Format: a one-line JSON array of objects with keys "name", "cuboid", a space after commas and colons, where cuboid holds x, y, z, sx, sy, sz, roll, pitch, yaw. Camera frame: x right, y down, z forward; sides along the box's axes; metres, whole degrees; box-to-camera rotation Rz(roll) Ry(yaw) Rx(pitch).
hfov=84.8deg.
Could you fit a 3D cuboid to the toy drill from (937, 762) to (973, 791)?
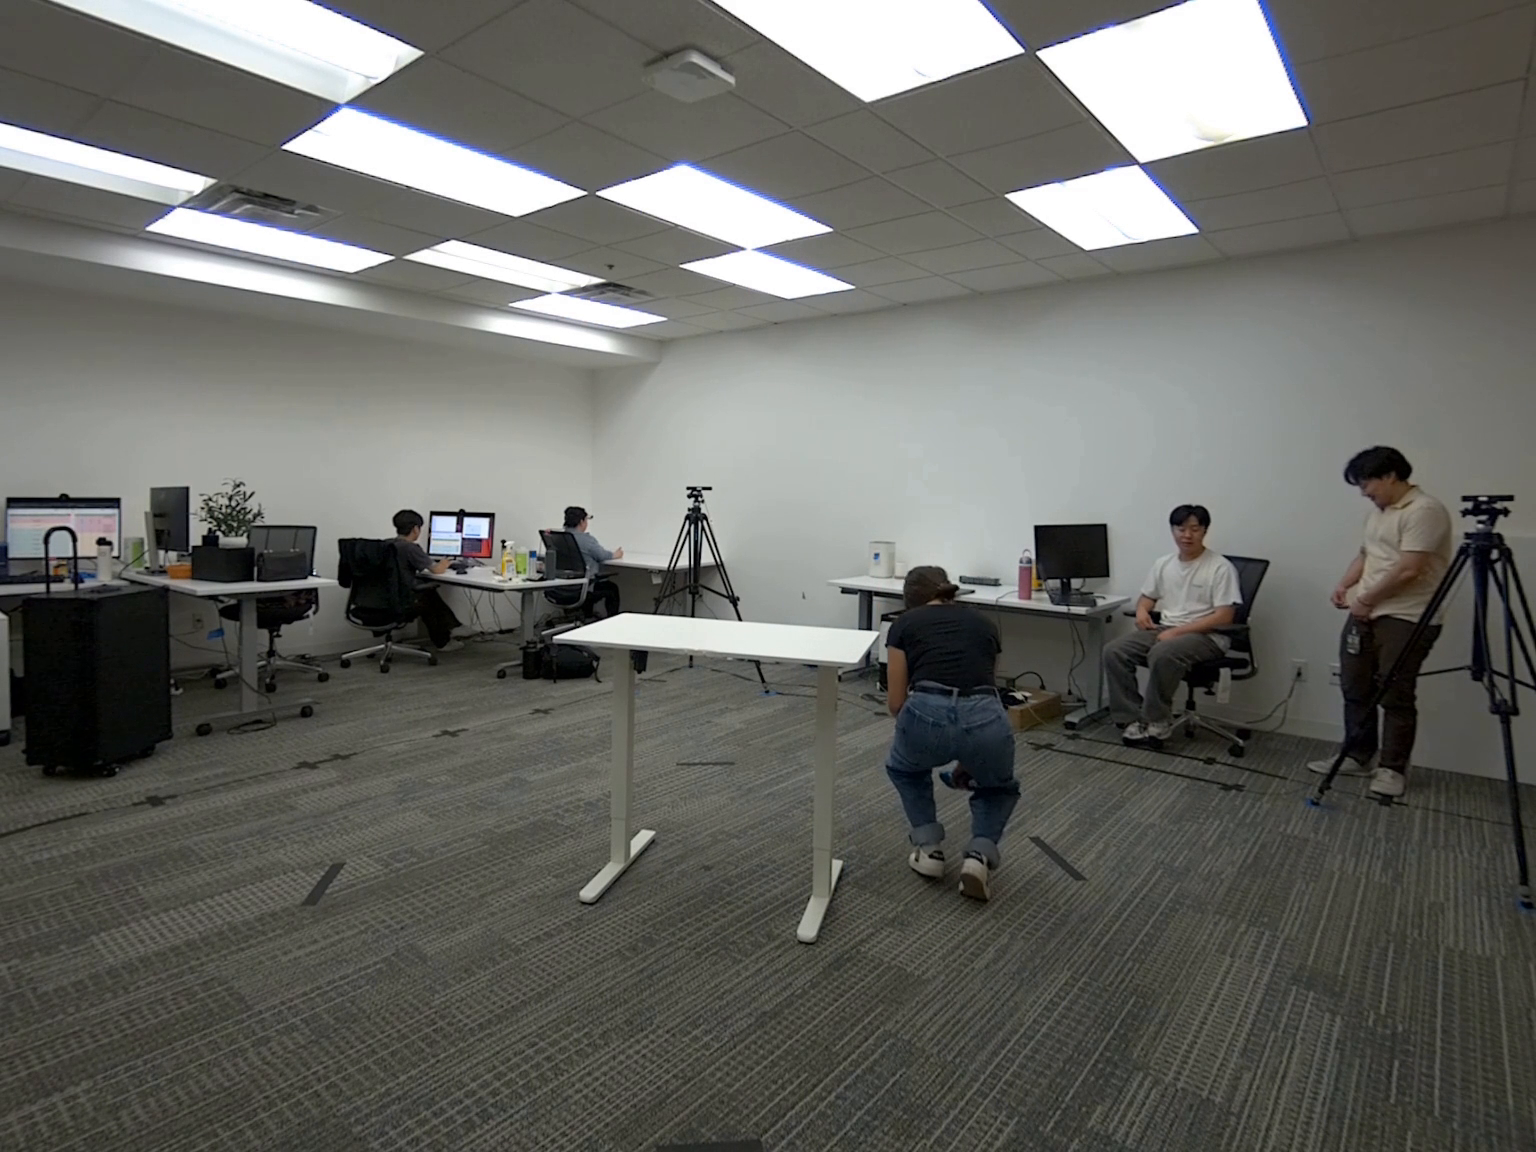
[{"name": "toy drill", "cuboid": [0.730, 0.817, 3.282, 0.164, 0.061, 0.151, 32, 22, -30]}]
